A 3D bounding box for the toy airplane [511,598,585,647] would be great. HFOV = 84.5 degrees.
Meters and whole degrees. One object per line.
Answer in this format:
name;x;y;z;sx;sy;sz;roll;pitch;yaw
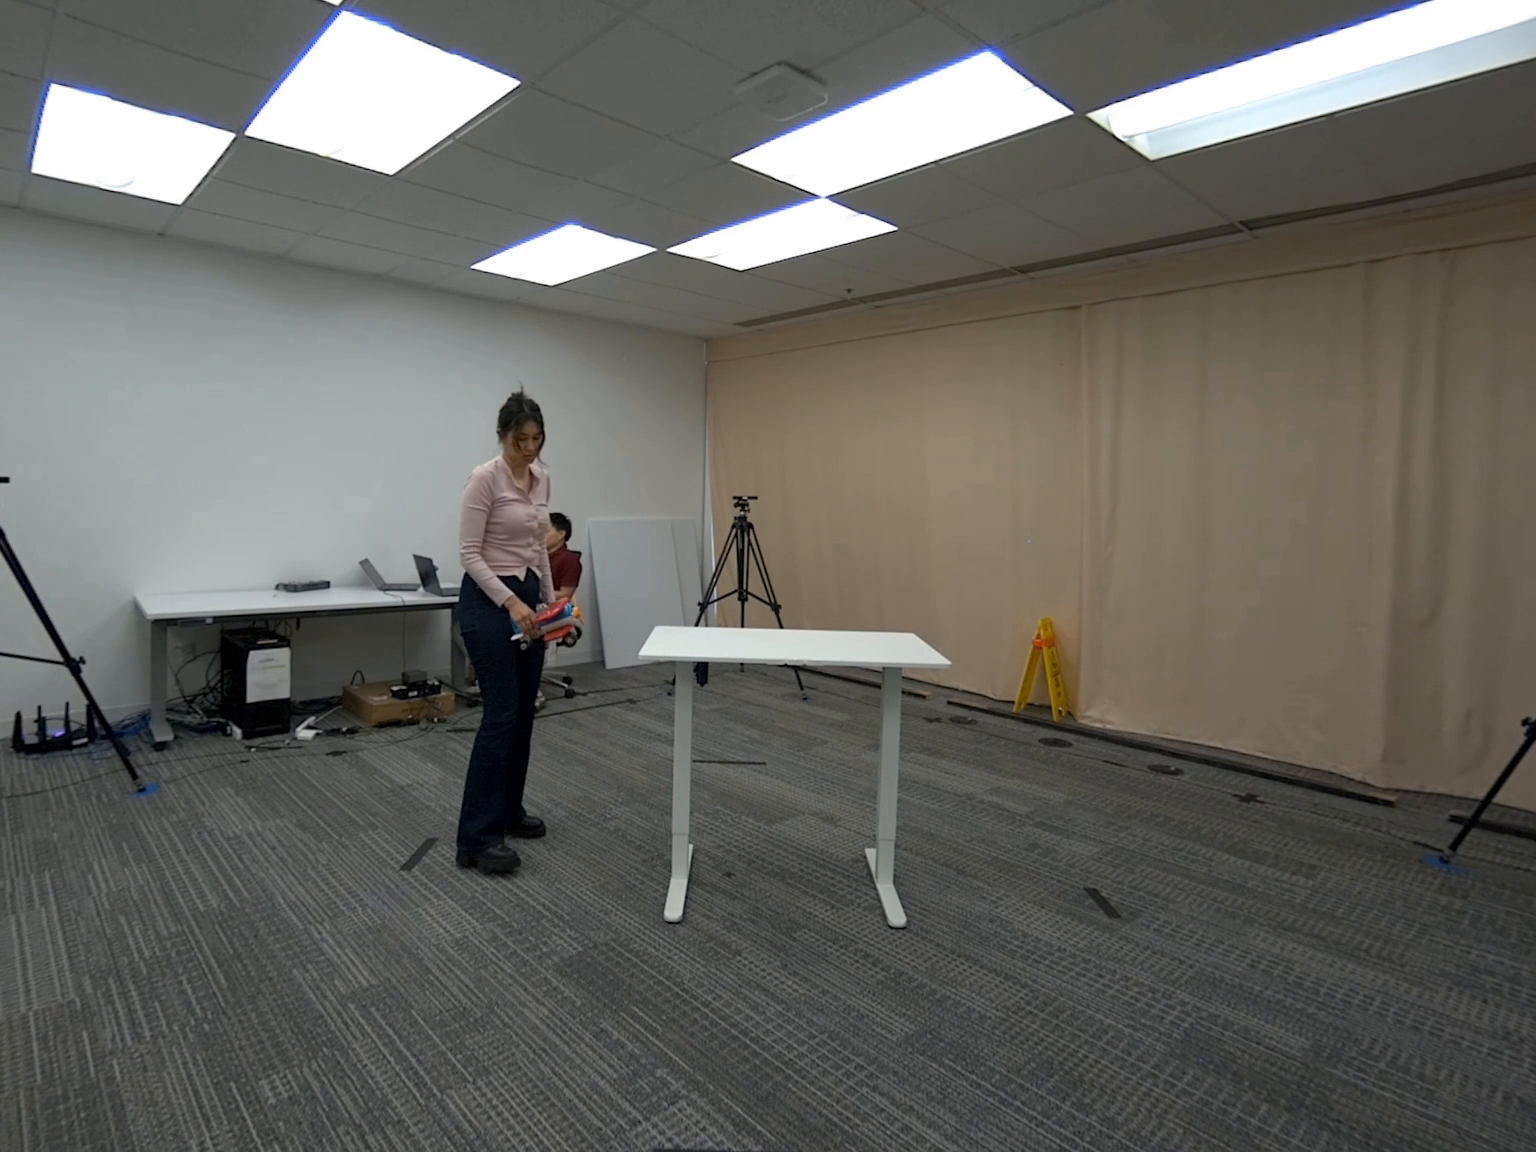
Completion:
toy airplane;-0.802;0.182;3.051;0.255;0.155;0.257;-11;11;-25
